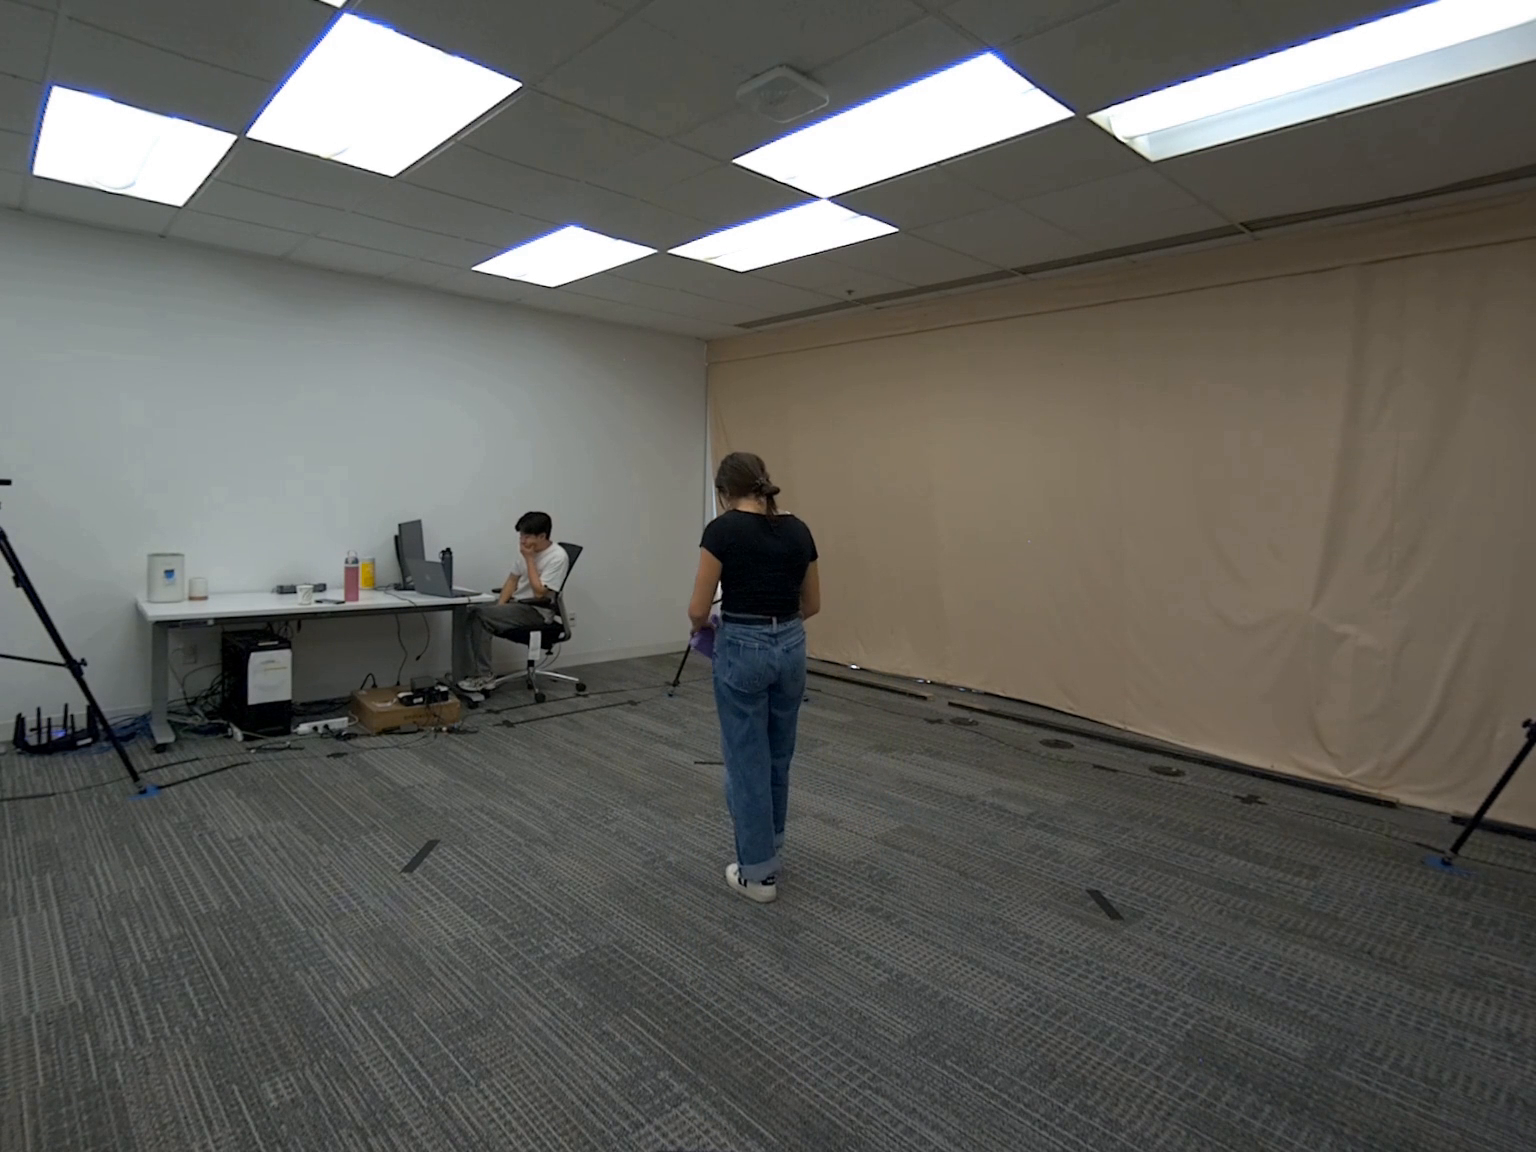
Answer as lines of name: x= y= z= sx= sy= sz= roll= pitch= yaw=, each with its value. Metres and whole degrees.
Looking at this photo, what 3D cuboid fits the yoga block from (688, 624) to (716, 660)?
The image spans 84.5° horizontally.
yoga block: x=-0.156 y=0.271 z=3.195 sx=0.227 sy=0.149 sz=0.077 roll=37 pitch=-7 yaw=-7
